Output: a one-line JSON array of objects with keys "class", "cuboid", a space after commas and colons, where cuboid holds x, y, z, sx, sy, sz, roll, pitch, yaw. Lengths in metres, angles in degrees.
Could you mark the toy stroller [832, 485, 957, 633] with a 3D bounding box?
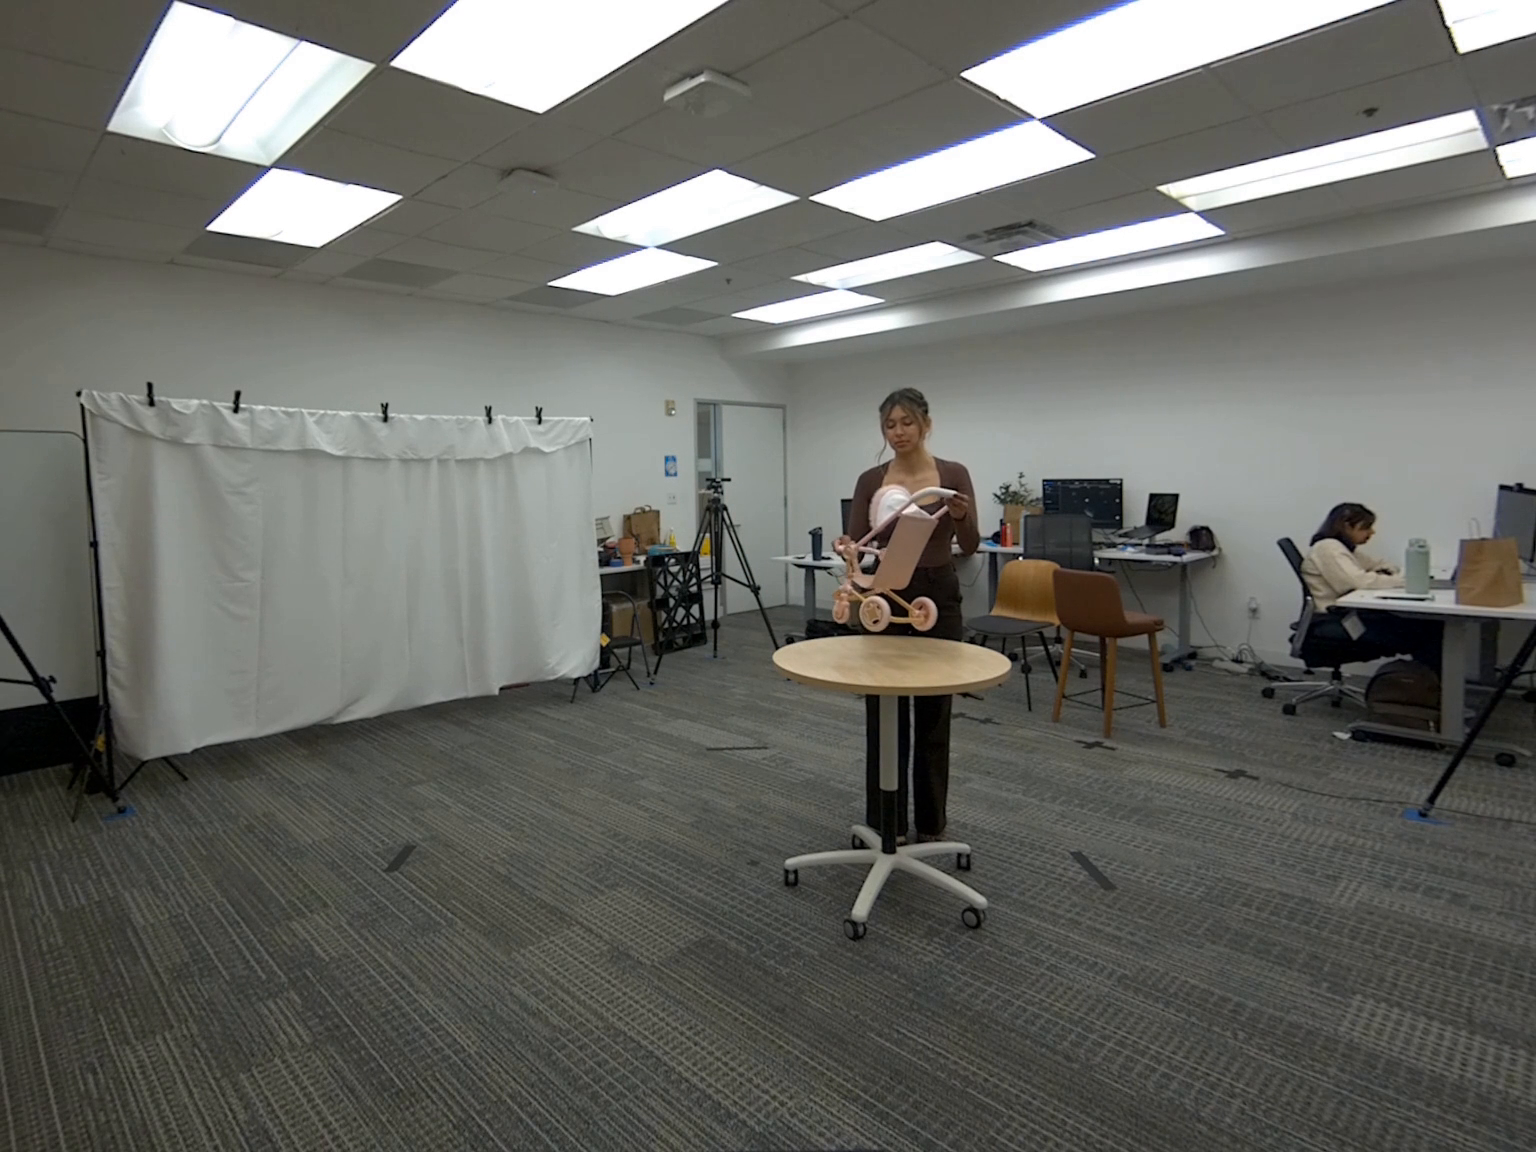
[{"class": "toy stroller", "cuboid": [0.391, -0.054, 2.802, 0.273, 0.531, 0.354, 4, 13, -38]}]
